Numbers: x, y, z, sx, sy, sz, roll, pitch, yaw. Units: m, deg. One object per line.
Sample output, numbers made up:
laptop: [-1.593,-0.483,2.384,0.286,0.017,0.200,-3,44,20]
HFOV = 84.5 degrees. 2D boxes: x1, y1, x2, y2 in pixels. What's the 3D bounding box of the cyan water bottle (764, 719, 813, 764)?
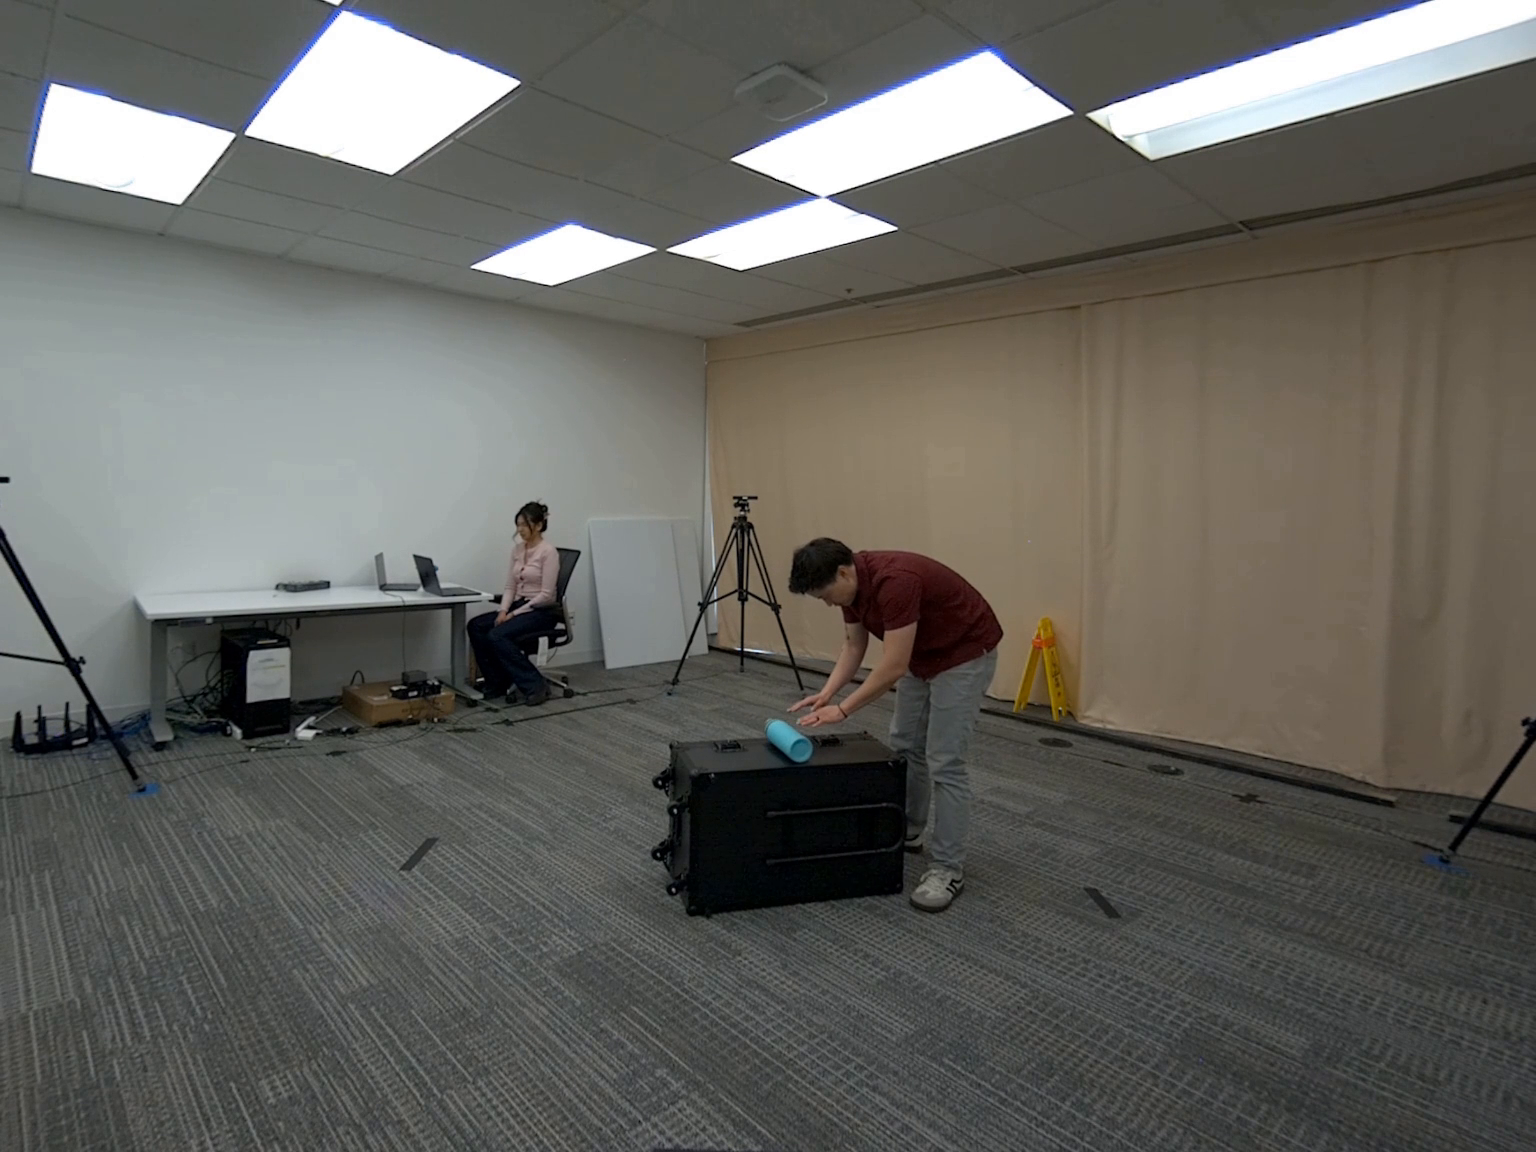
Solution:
cyan water bottle: [0.063,0.579,3.025,0.091,0.092,0.288,0,6,-18]
